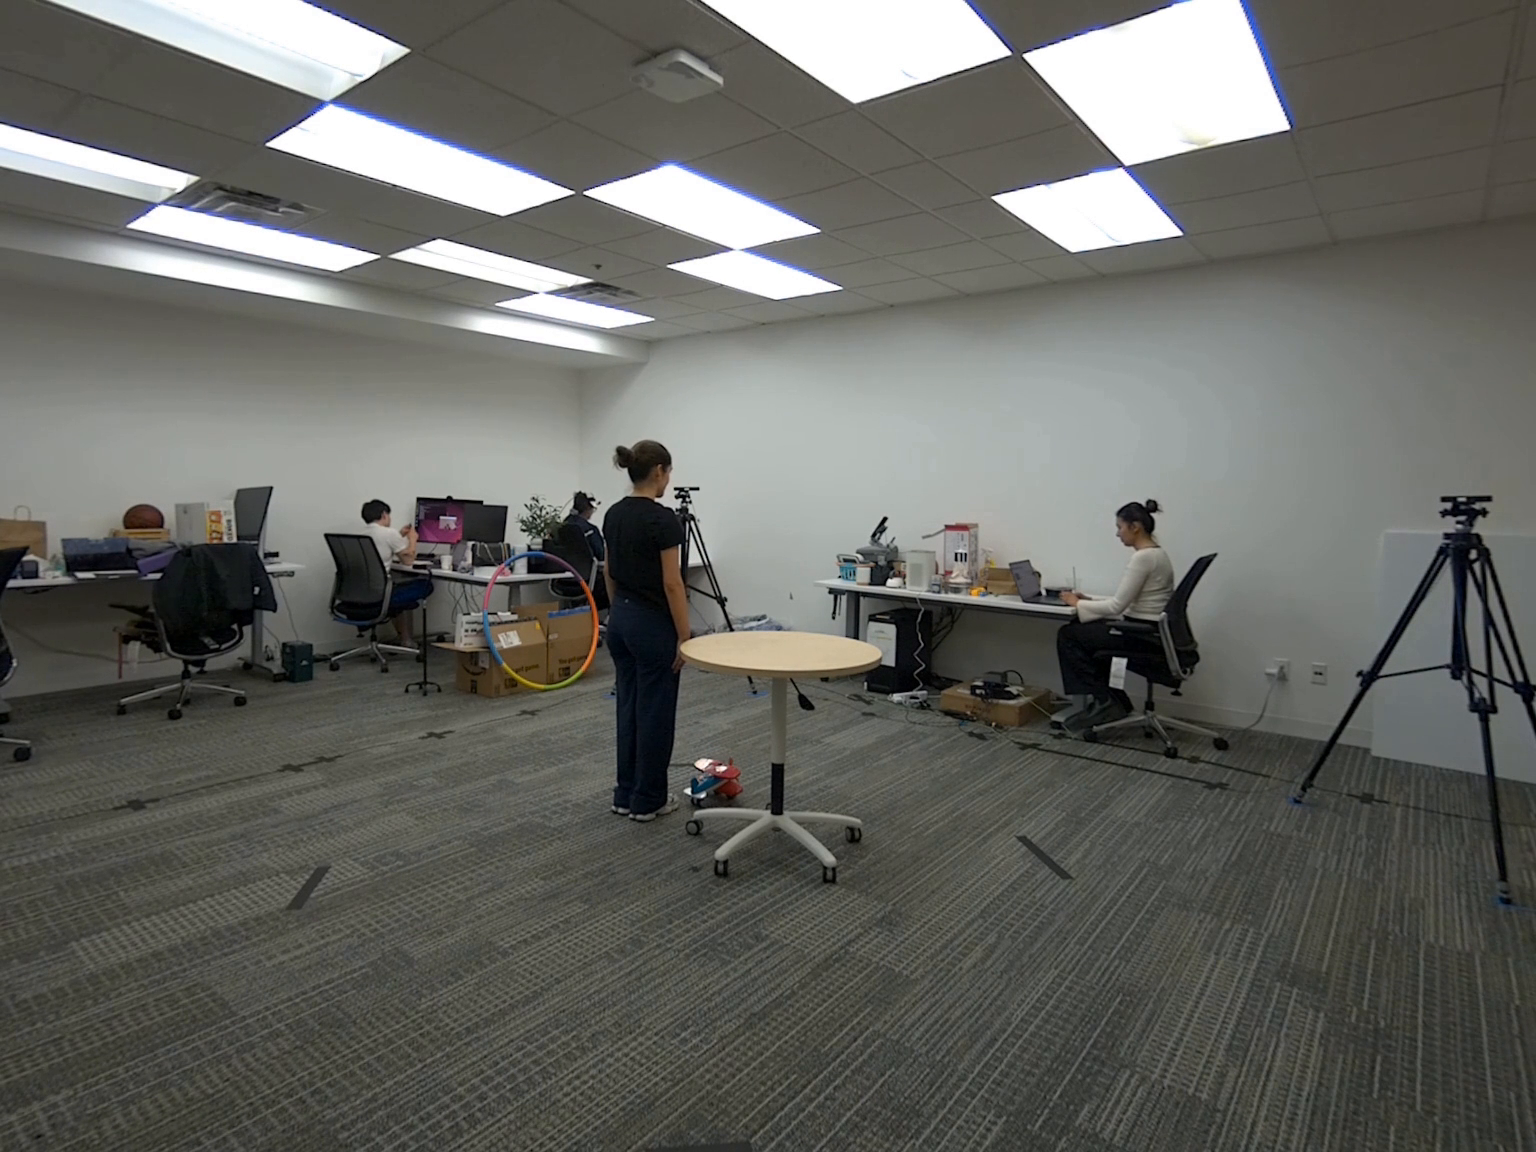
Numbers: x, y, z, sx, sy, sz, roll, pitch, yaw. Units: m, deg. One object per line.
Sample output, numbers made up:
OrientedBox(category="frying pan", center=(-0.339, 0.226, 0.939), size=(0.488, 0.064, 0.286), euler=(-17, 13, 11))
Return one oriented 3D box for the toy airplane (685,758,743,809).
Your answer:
OrientedBox(category="toy airplane", center=(-0.221, 0.929, 3.796), size=(0.255, 0.156, 0.255), euler=(2, 3, 14))
